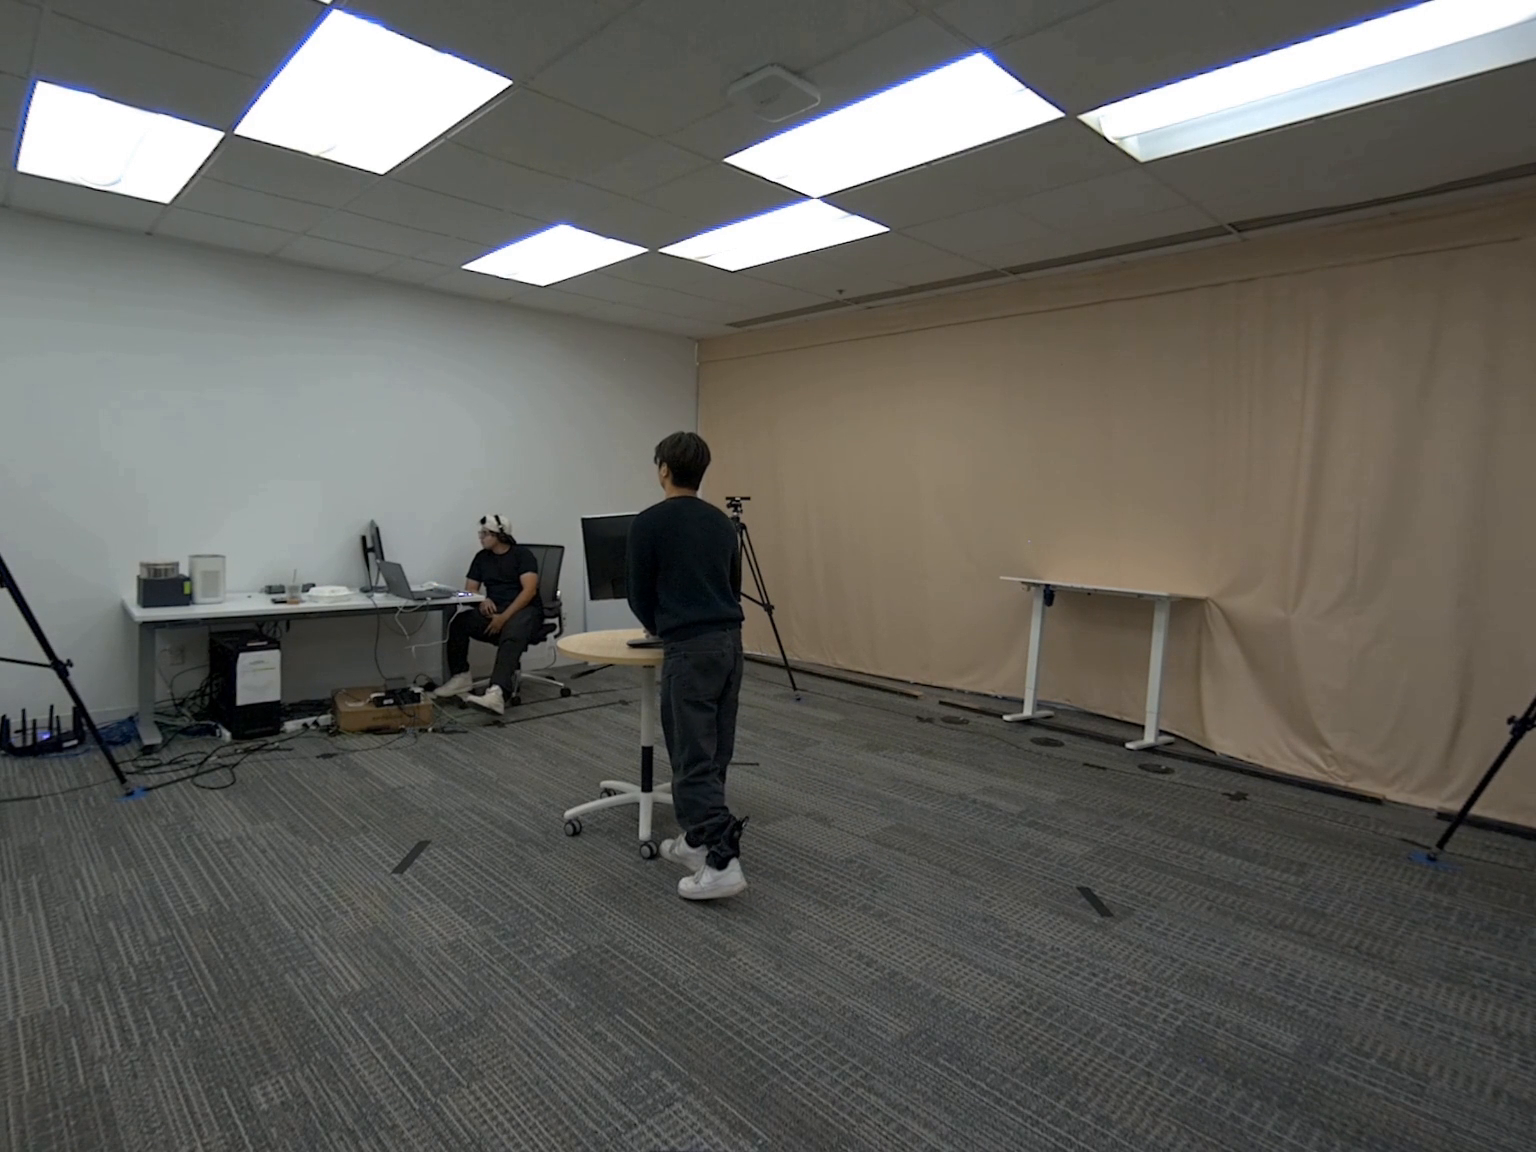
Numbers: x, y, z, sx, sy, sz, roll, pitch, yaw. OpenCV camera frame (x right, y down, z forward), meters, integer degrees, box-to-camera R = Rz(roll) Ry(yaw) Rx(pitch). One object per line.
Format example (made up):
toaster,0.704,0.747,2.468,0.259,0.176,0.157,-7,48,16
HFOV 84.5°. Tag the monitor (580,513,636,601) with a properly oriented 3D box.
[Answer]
monitor,-0.474,0.004,3.475,0.528,0.518,0.174,-5,-4,-4
